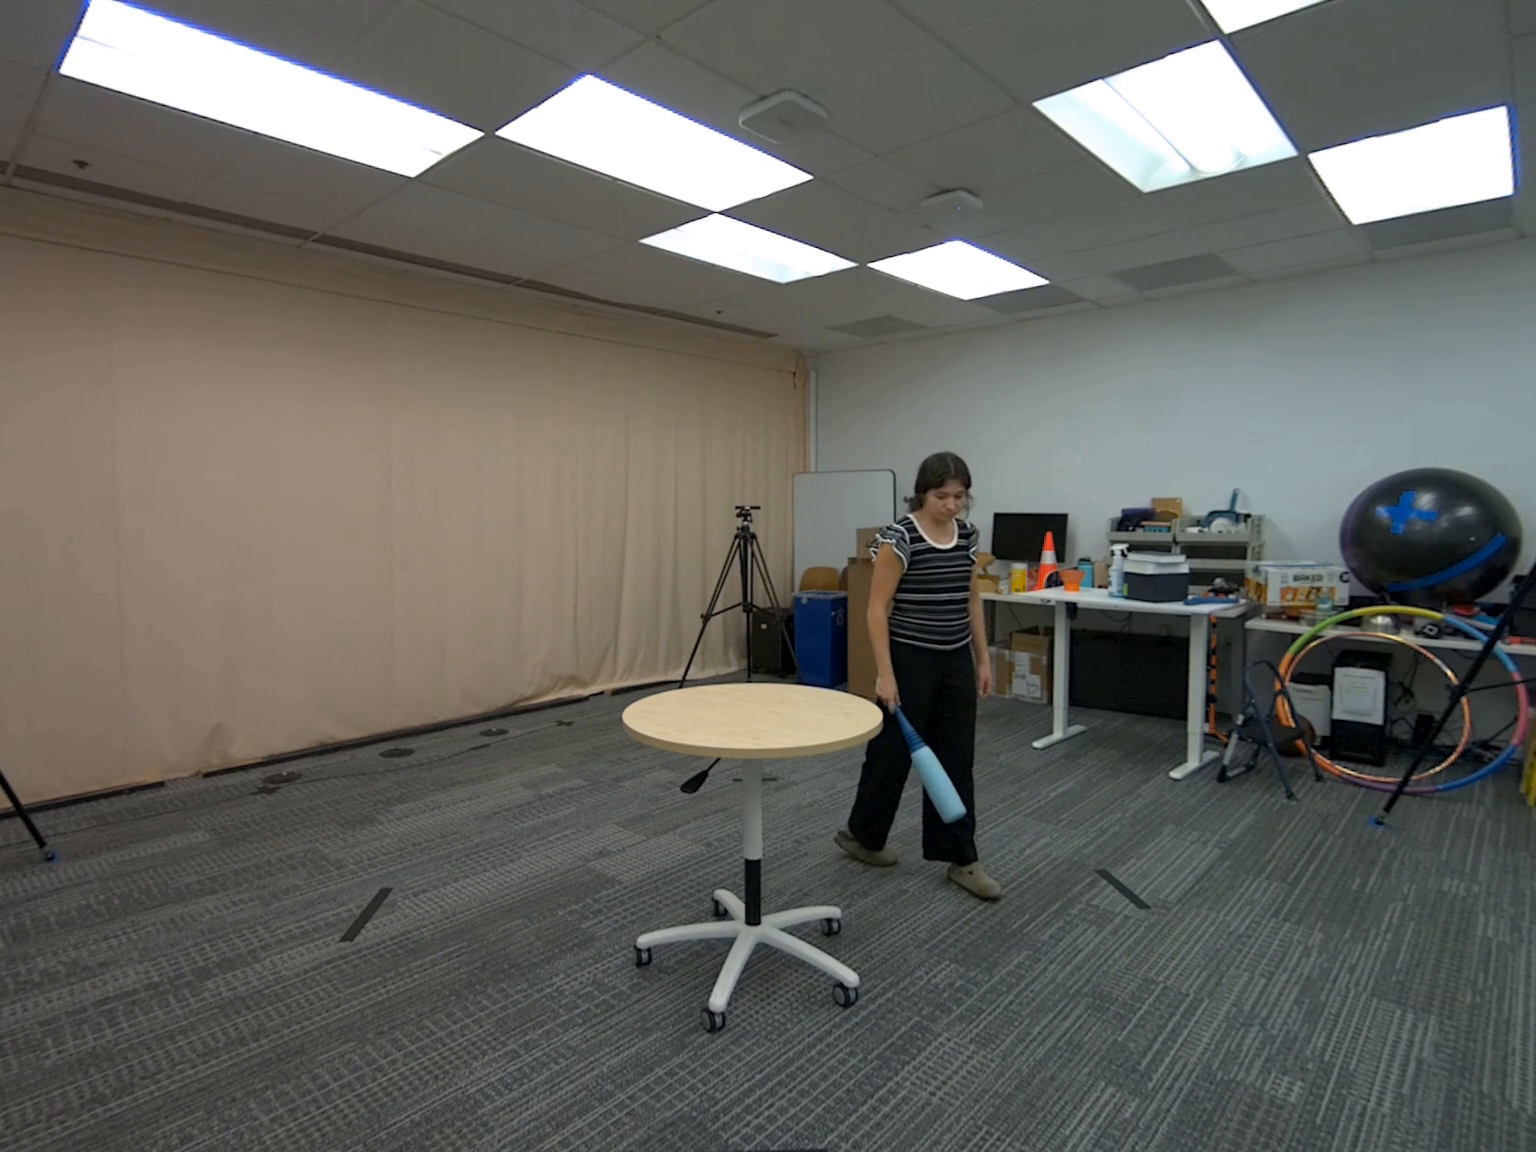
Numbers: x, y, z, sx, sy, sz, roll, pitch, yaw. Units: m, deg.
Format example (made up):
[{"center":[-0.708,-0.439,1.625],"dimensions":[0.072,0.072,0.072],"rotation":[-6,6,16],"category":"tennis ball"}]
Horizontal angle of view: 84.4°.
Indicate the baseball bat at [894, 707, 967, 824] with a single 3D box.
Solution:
[{"center":[0.526,0.591,2.936],"dimensions":[0.088,0.557,0.088],"rotation":[-21,-27,-13],"category":"baseball bat"}]
